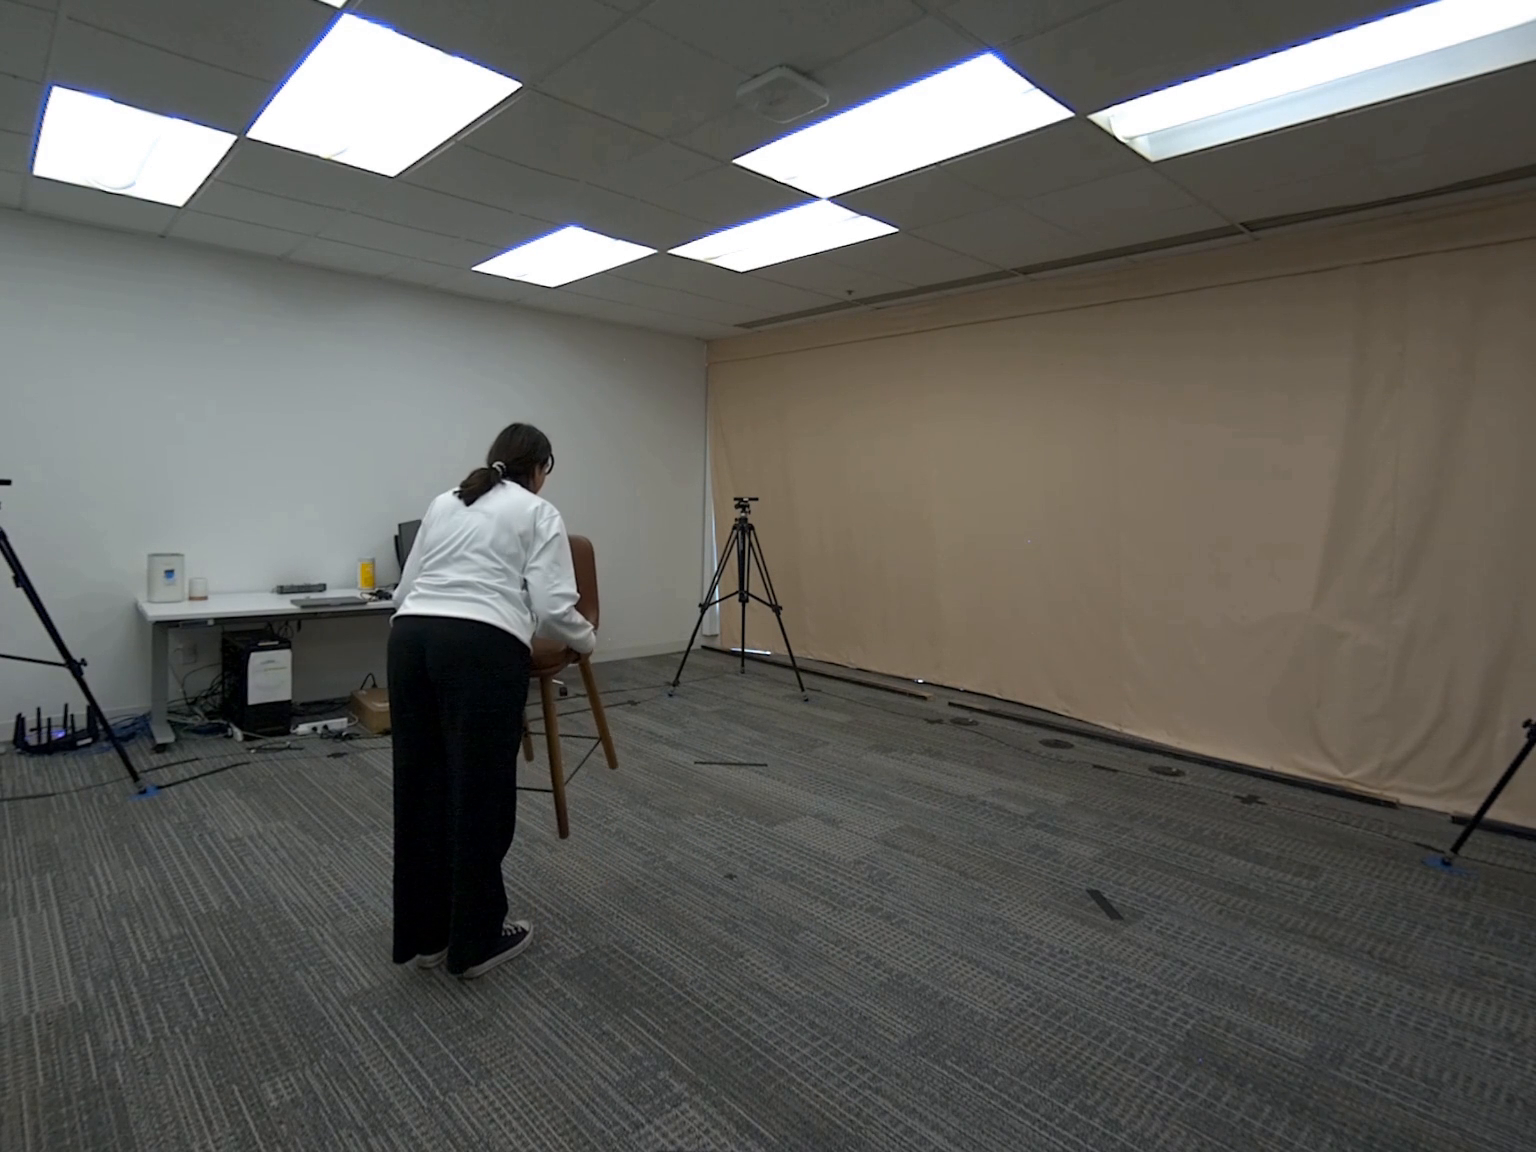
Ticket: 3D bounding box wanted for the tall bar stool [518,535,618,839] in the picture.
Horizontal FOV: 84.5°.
[{"bbox_3d":[-0.812,0.364,2.812,0.463,0.880,0.466,1,14,17],"label":"tall bar stool"}]
